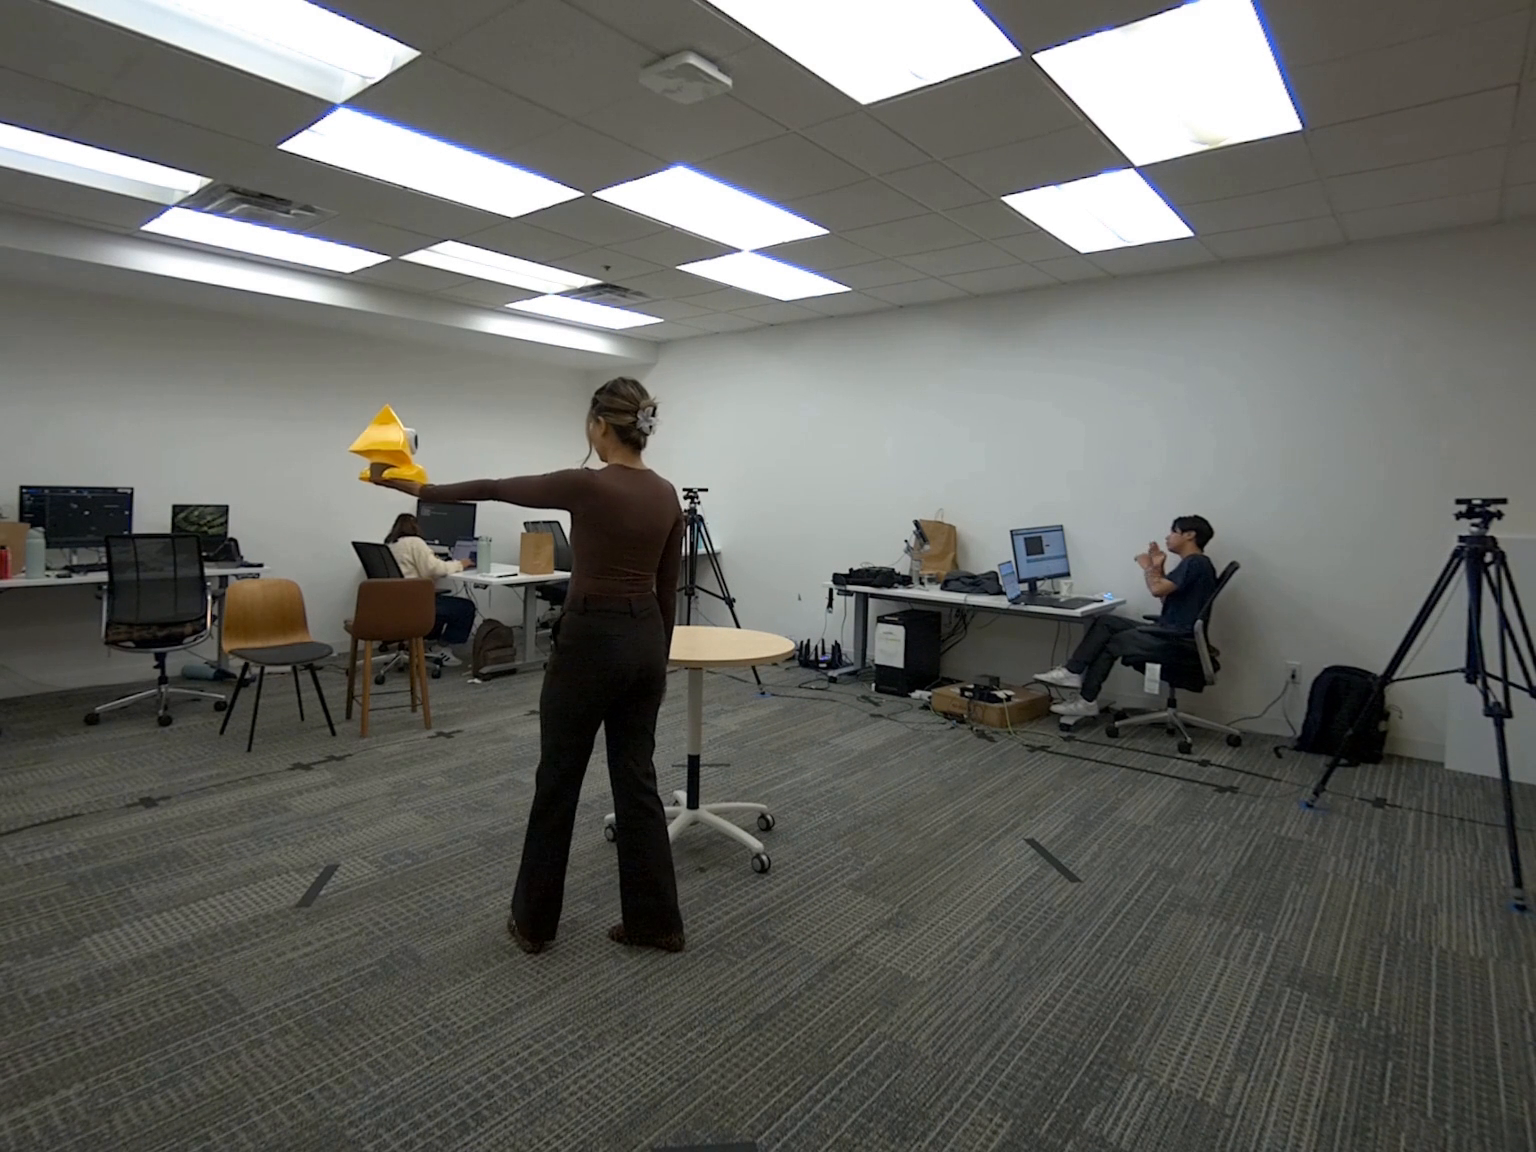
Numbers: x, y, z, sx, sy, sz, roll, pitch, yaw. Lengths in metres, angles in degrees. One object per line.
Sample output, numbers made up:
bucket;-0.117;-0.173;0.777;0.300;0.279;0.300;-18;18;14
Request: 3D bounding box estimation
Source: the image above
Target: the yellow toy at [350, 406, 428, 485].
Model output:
yellow toy;-1.169;-0.410;2.641;0.209;0.232;0.188;2;-7;18
